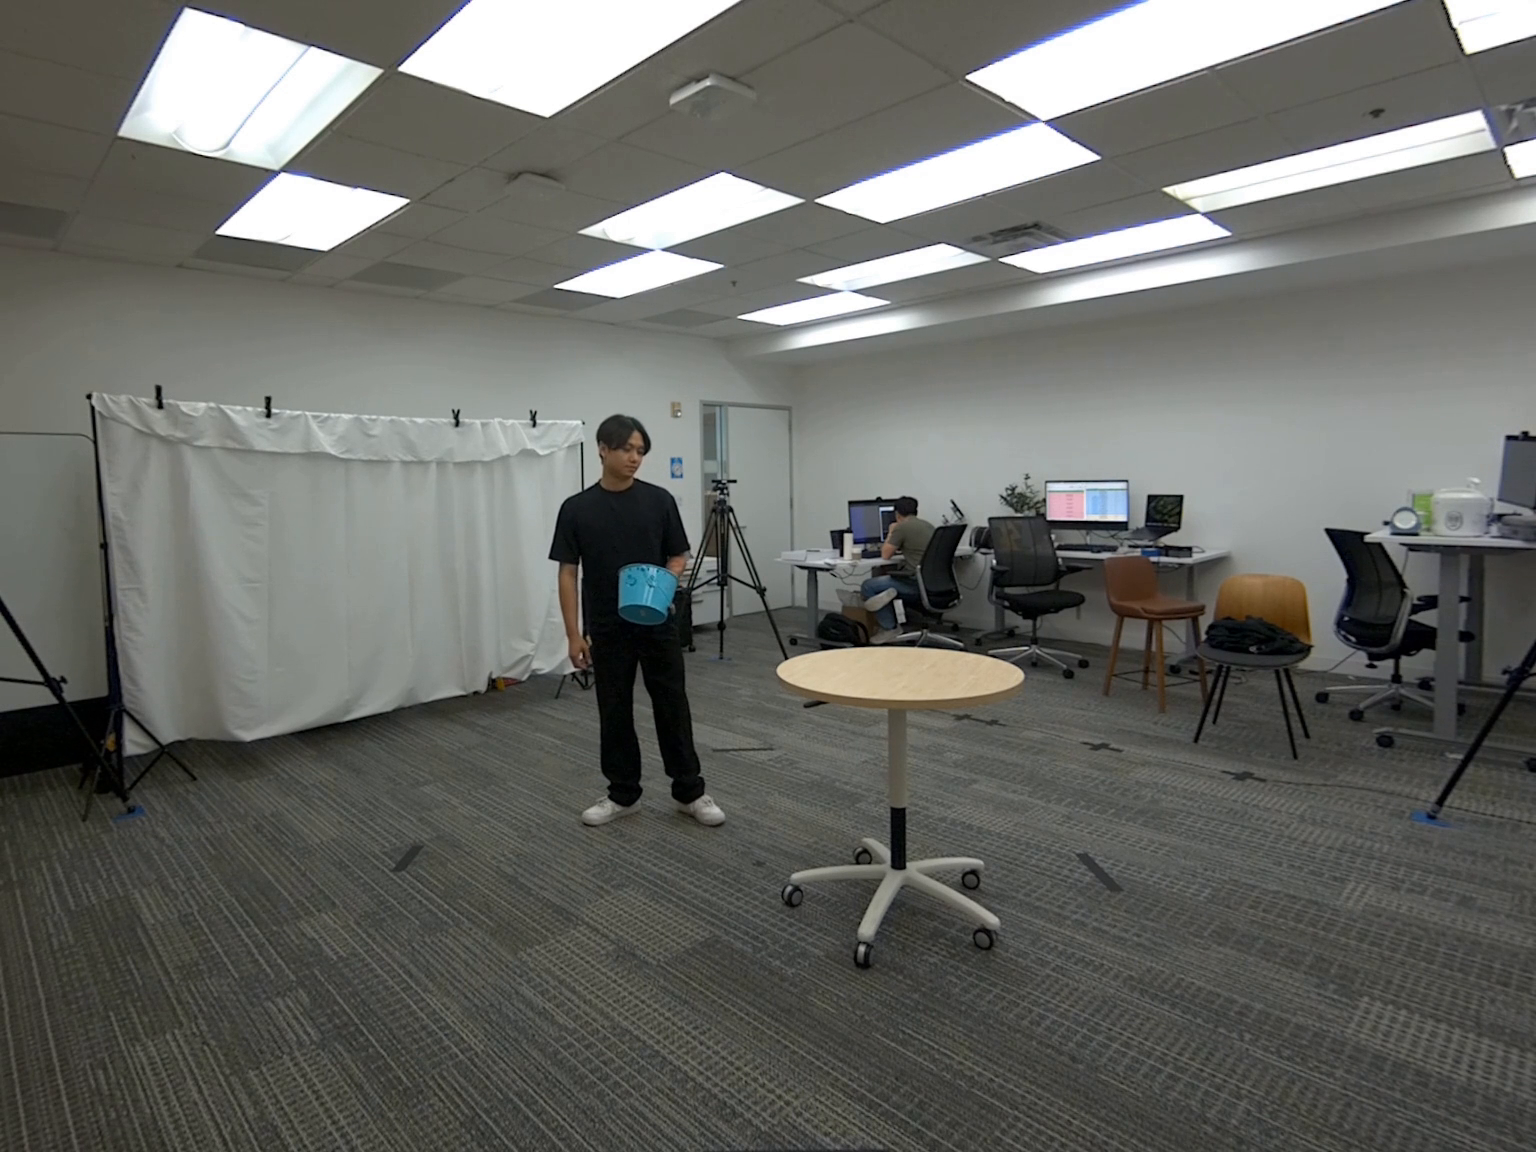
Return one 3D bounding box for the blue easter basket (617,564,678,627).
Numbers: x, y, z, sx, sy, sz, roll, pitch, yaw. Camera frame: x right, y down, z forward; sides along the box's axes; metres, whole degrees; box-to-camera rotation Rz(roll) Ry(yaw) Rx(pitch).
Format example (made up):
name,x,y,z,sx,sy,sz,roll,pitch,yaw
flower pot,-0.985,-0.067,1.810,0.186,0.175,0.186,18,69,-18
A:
name,x,y,z,sx,sy,sz,roll,pitch,yaw
blue easter basket,-0.455,0.077,3.196,0.244,0.159,0.238,6,-28,1
